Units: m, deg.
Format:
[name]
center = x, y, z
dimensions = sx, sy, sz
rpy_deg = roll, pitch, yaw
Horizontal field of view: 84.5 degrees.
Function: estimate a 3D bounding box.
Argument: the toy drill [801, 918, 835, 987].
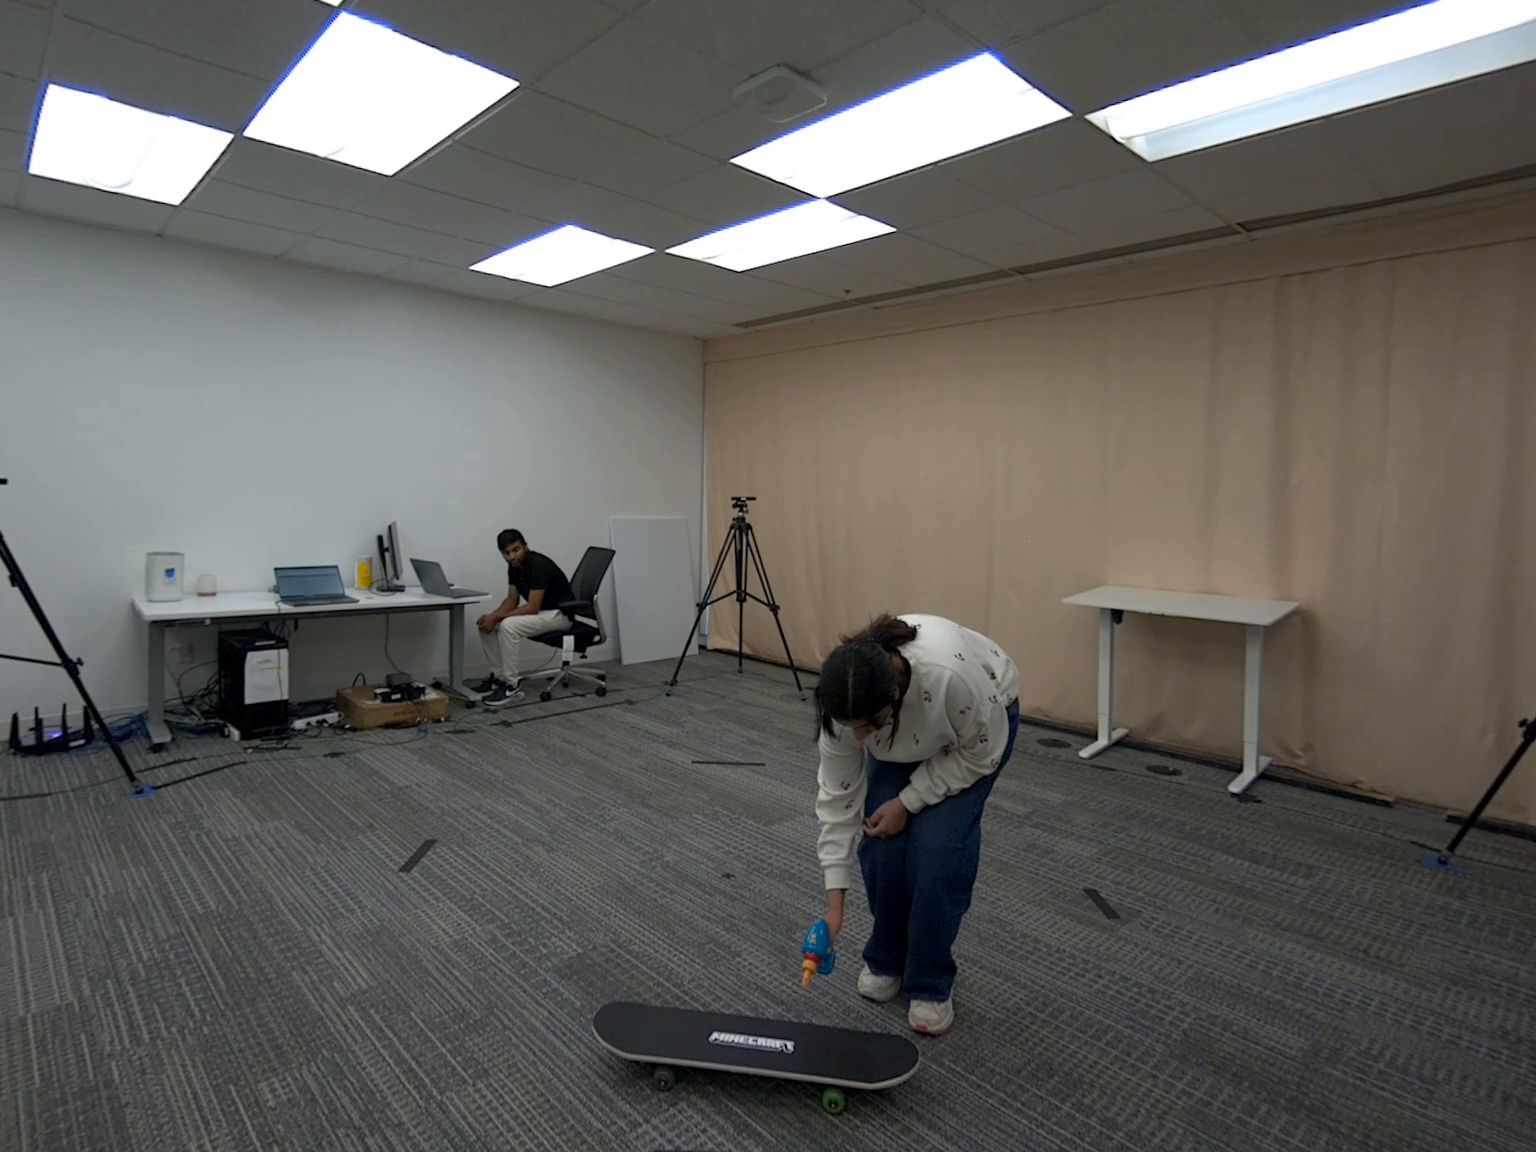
[toy drill]
center = 0.110, 0.950, 2.068
dimensions = 0.062, 0.142, 0.172
rpy_deg = 3, 42, 13
